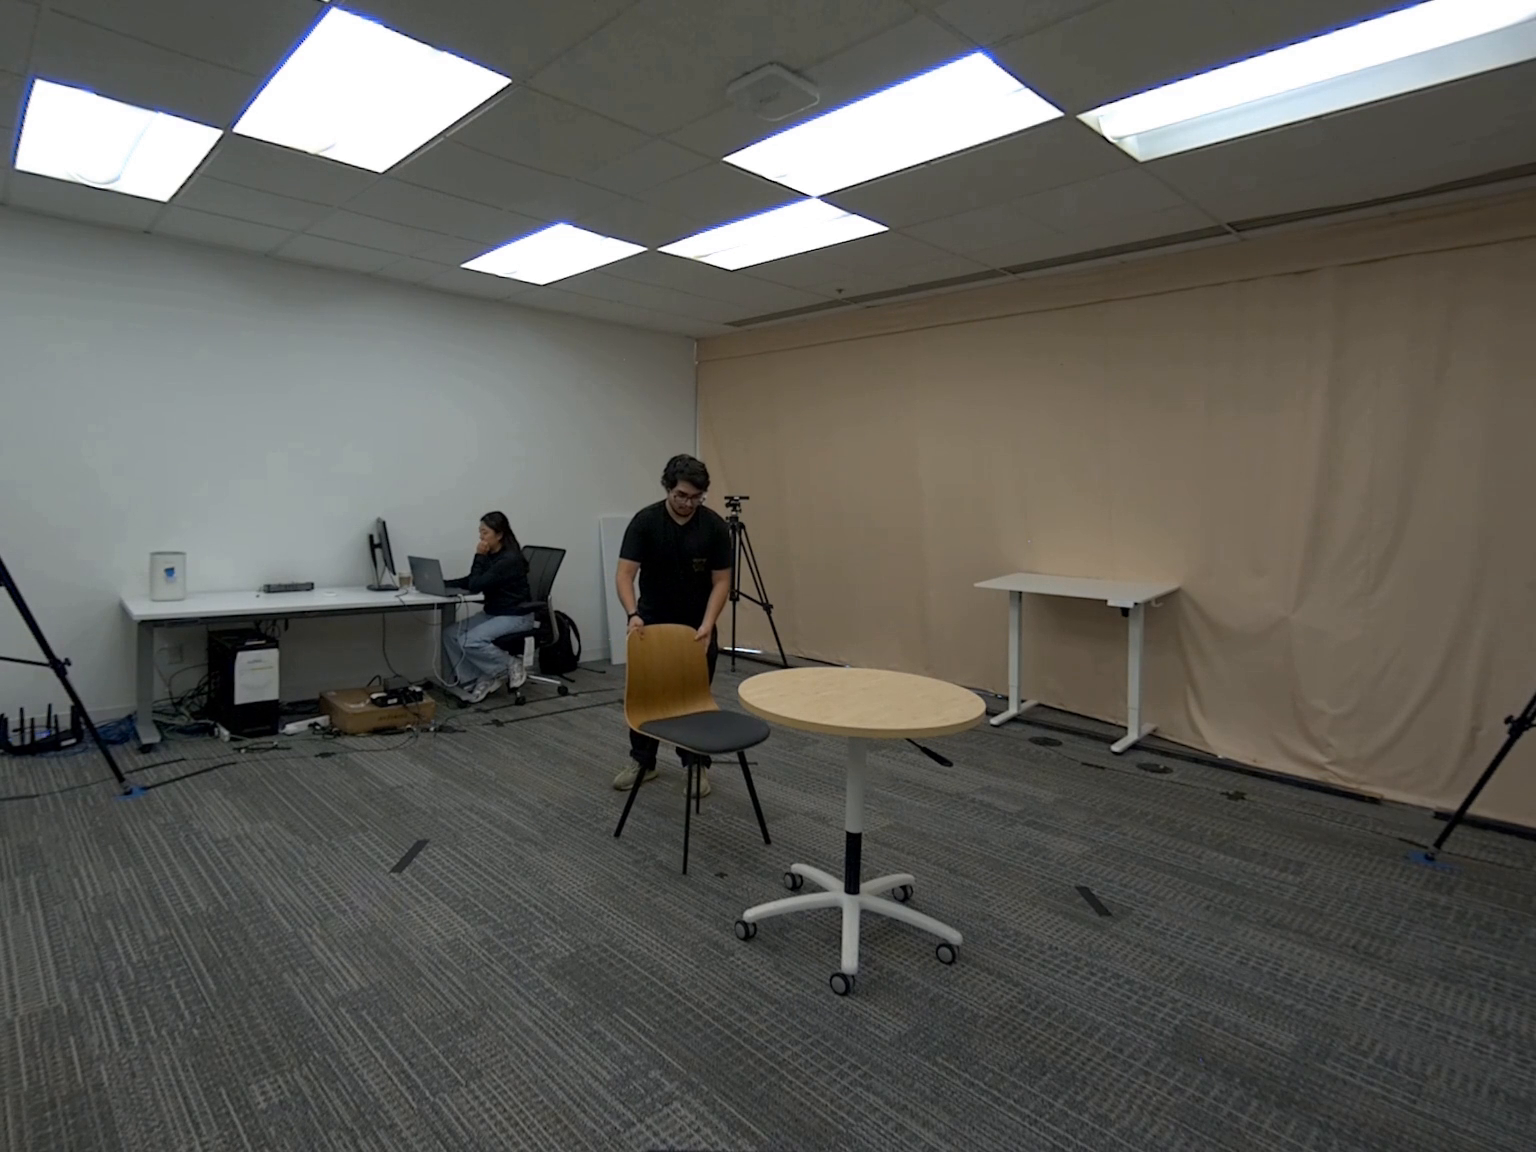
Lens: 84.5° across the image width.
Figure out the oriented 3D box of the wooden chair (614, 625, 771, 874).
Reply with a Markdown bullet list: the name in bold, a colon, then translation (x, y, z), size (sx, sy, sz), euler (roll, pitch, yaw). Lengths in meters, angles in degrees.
- **wooden chair**: translation (-0.297, 0.650, 3.371), size (0.467, 0.877, 0.535), euler (-2, 0, -44)
